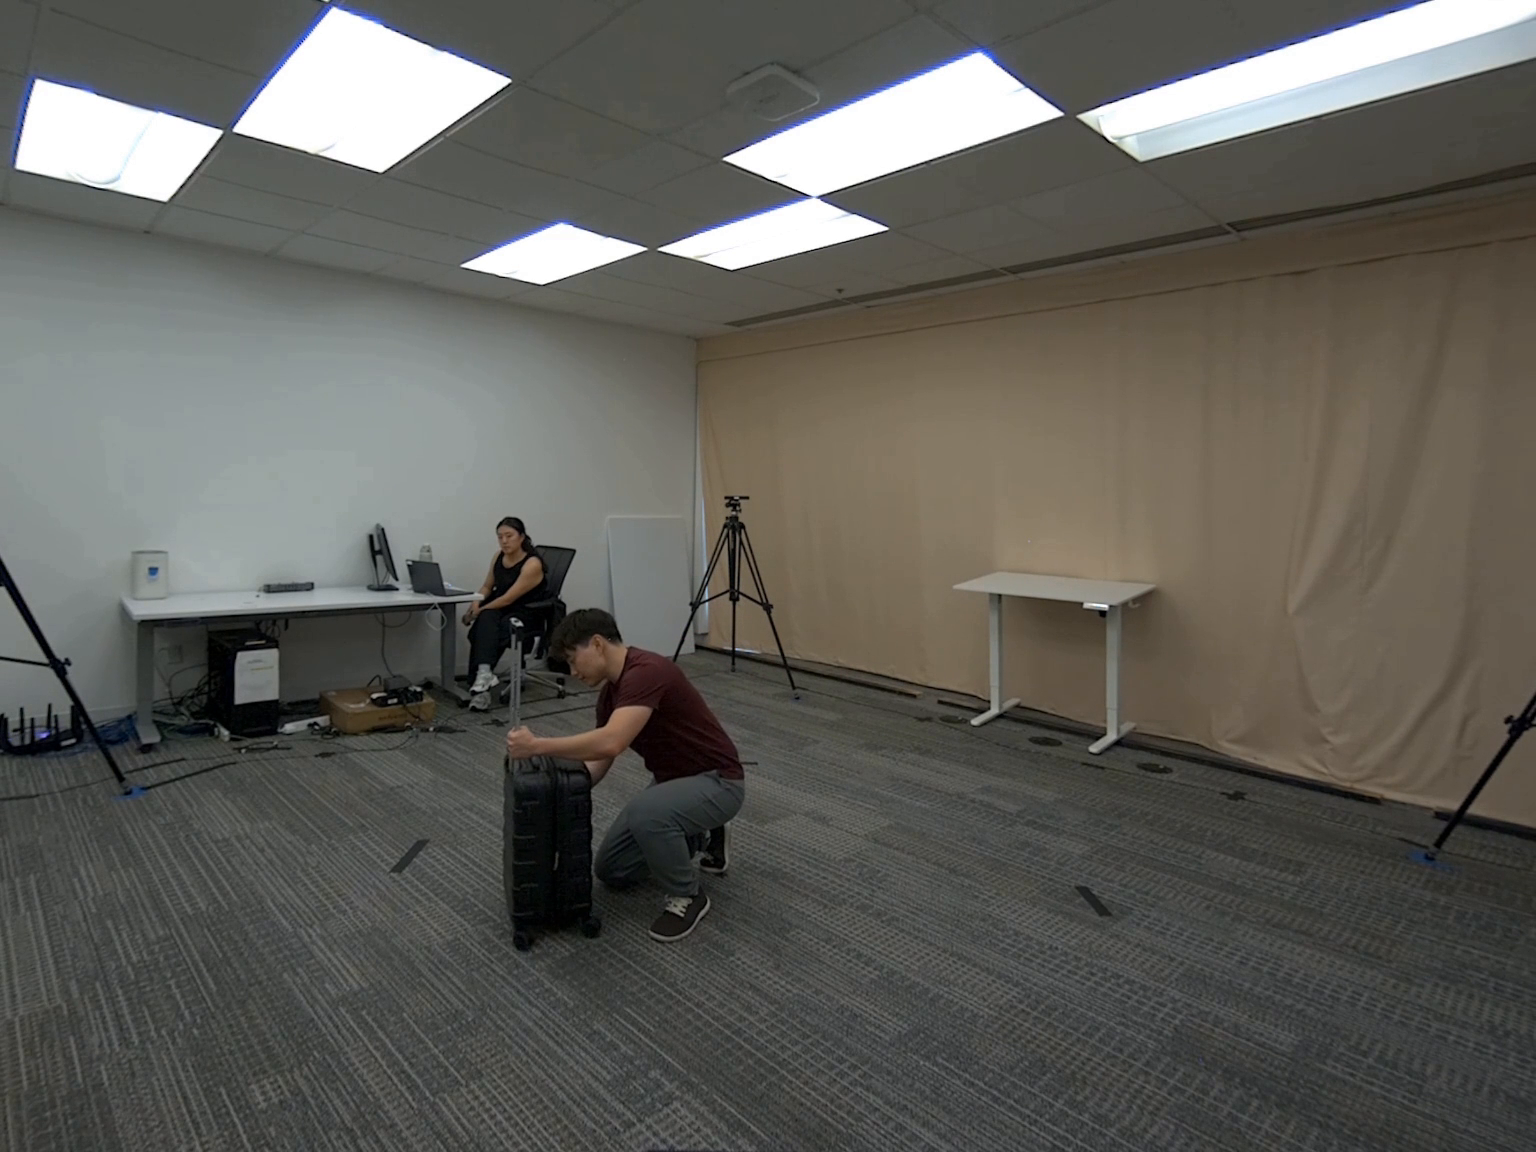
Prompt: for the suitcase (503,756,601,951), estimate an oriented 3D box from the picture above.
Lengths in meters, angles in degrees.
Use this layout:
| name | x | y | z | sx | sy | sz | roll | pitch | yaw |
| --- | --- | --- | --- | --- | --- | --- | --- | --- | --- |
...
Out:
| name | x | y | z | sx | sy | sz | roll | pitch | yaw |
| --- | --- | --- | --- | --- | --- | --- | --- | --- | --- |
| suitcase | -0.718 | 0.641 | 2.735 | 0.253 | 0.976 | 0.391 | 0 | 4 | -20 |
